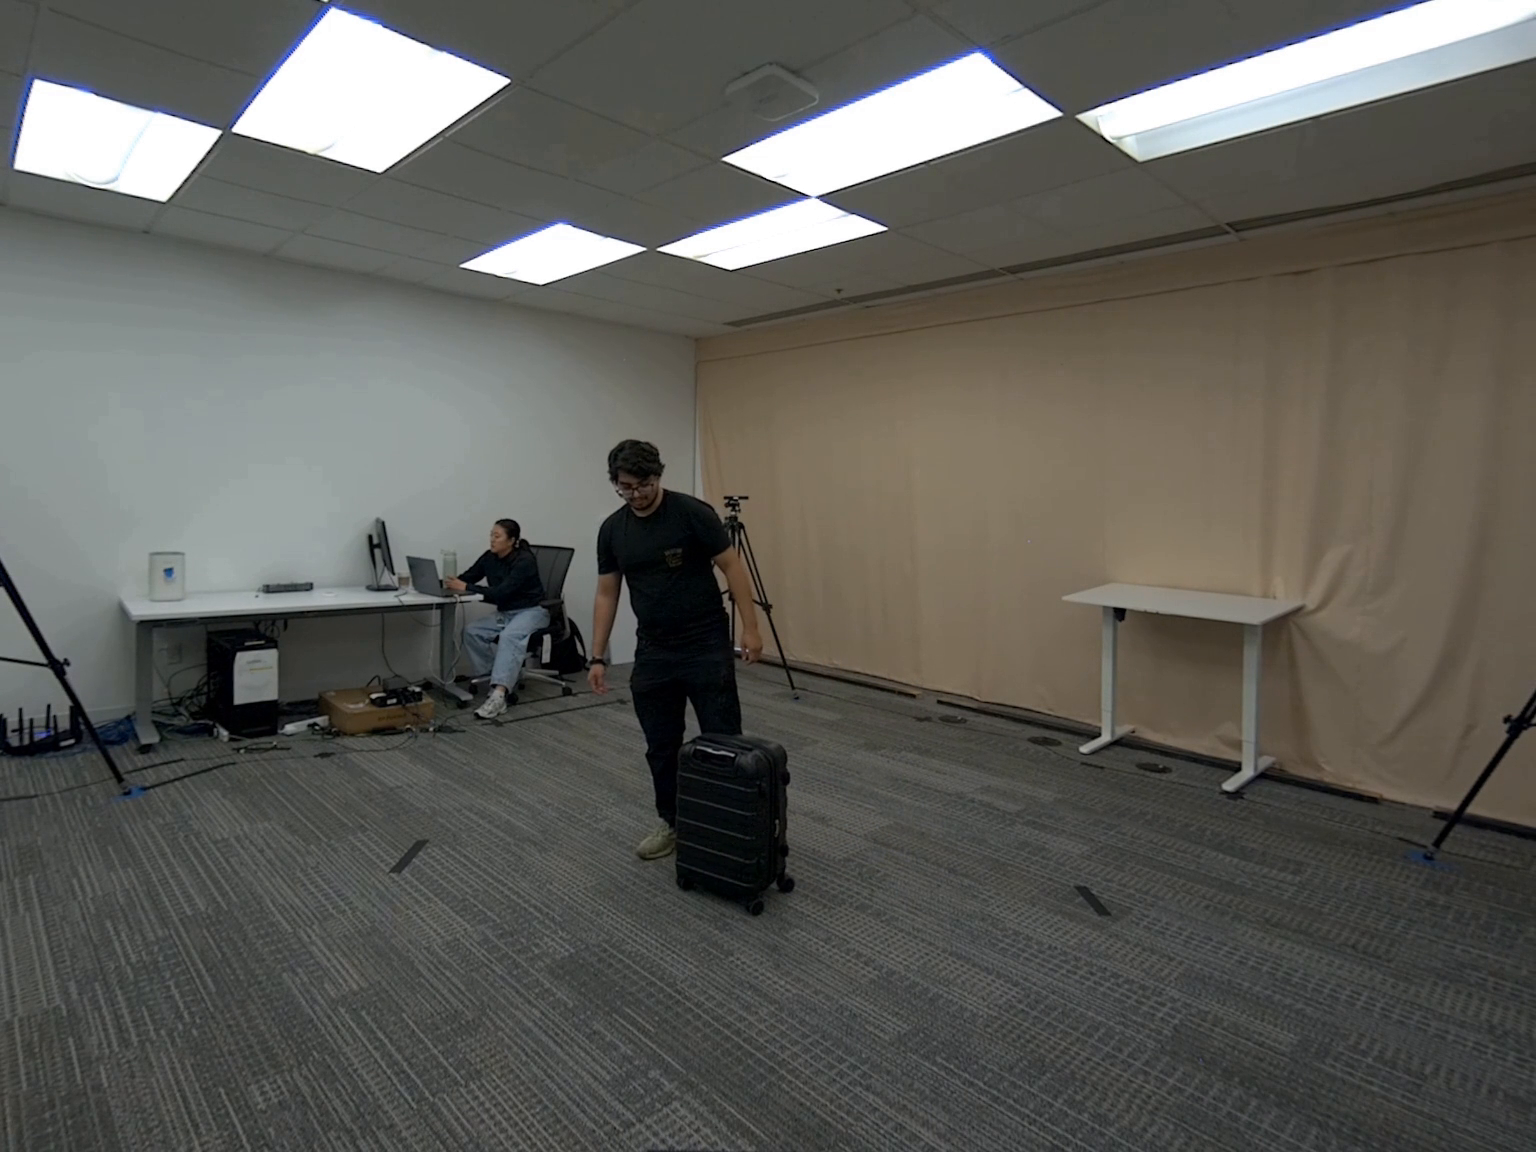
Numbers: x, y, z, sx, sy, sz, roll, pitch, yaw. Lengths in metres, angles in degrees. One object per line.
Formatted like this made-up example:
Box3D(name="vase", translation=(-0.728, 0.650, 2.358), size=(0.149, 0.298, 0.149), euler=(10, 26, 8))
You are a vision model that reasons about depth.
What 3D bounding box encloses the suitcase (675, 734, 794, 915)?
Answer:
Box3D(name="suitcase", translation=(-0.131, 0.841, 2.963), size=(0.384, 0.548, 0.243), euler=(3, 4, 31))
